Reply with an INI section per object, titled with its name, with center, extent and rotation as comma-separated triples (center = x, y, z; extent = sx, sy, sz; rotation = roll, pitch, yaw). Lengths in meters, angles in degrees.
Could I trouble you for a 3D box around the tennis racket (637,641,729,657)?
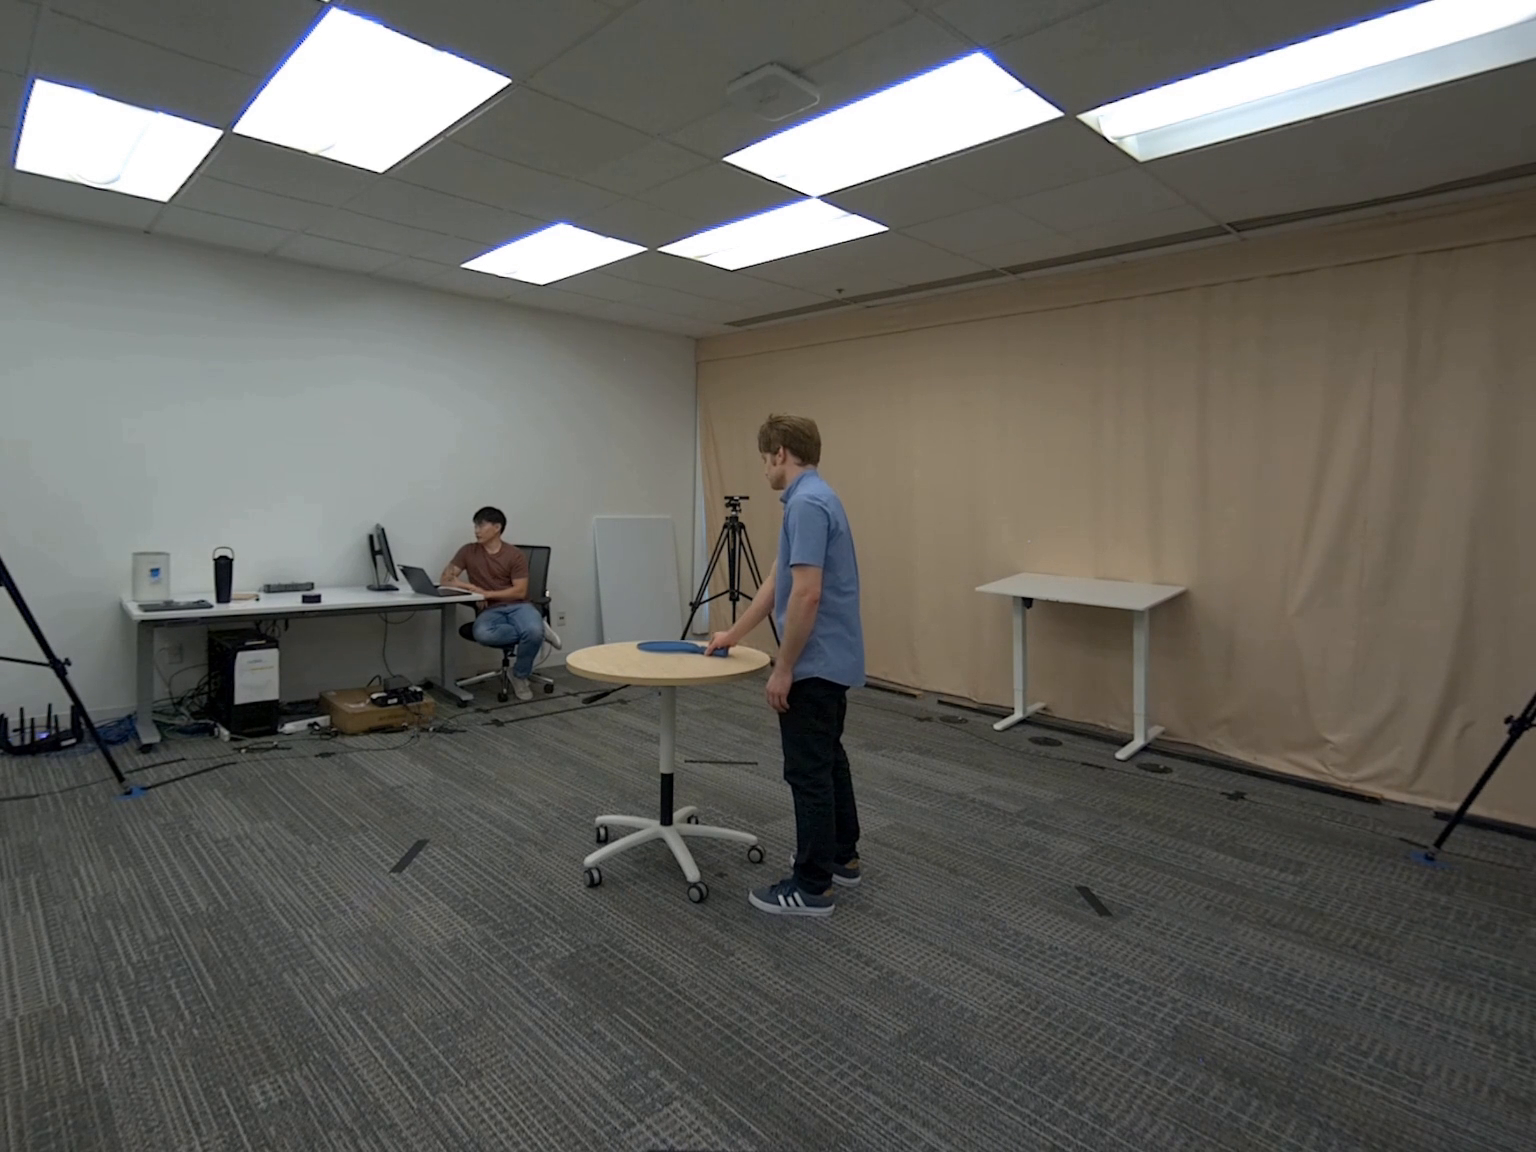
[tennis racket]
center = -0.337, 0.288, 3.326
extent = 0.443, 0.031, 0.209
rotation = 3, 7, 38
